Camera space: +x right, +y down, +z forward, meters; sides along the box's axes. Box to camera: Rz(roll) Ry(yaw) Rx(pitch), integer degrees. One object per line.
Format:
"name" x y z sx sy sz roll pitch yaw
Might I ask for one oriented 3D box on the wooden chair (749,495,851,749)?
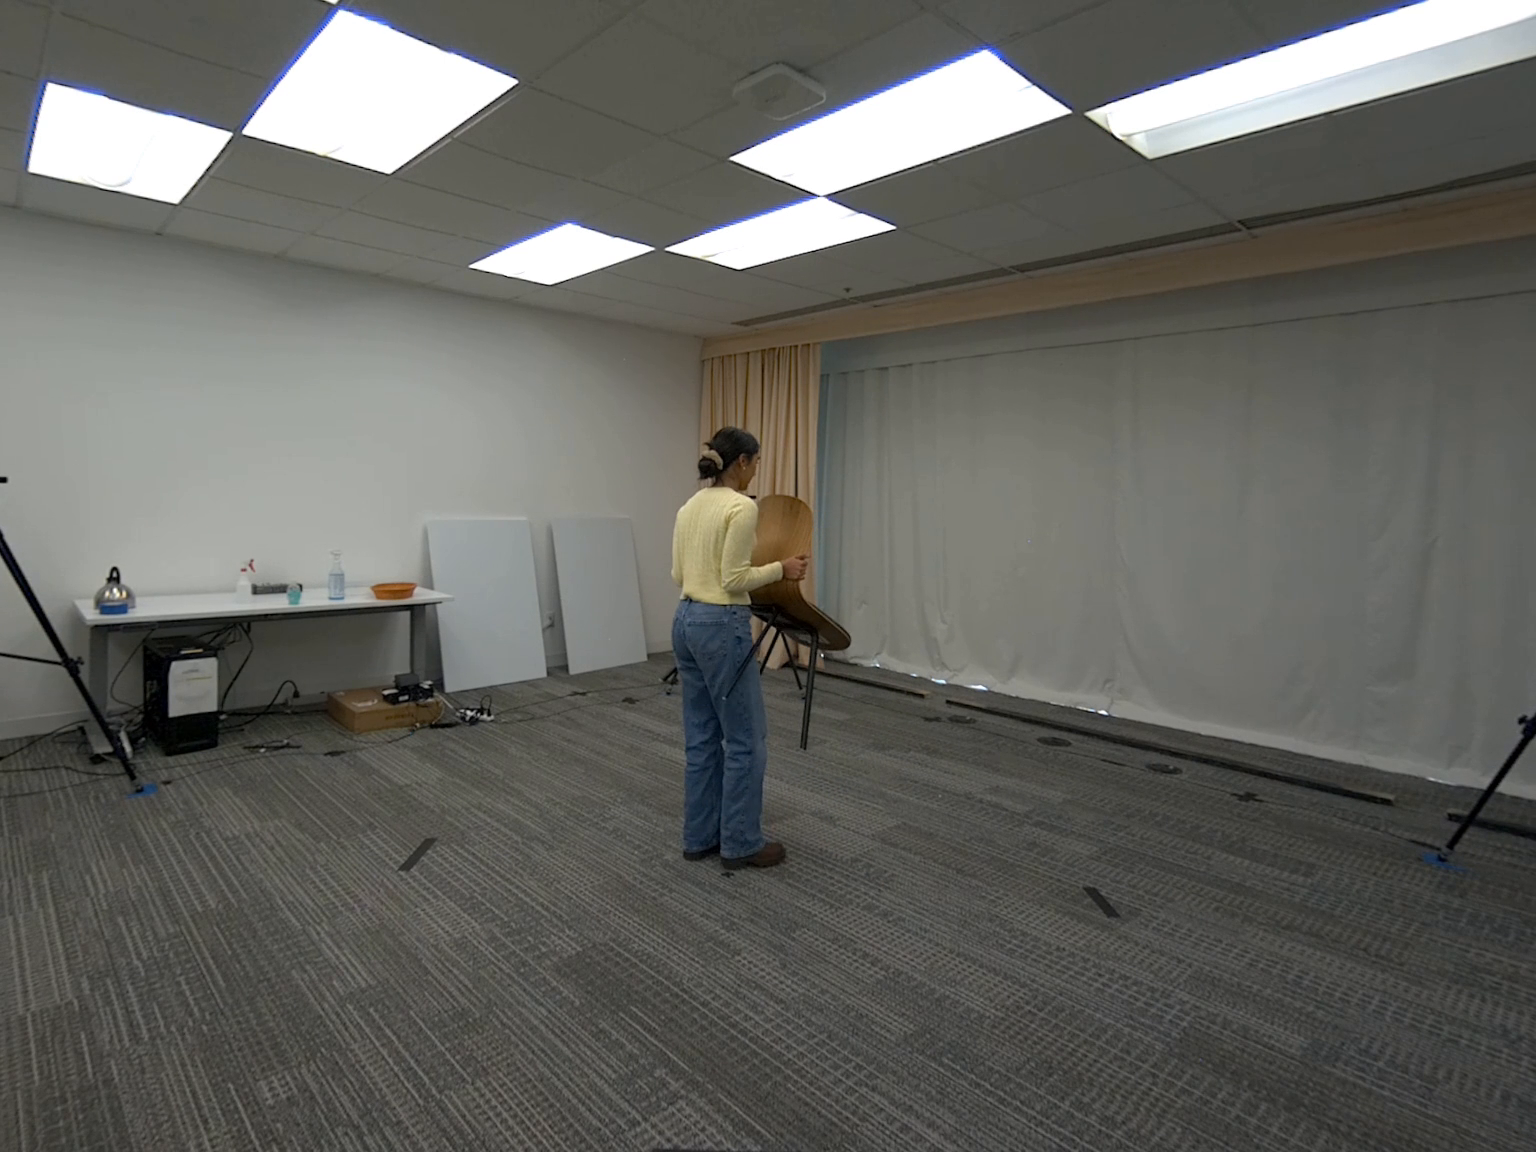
"wooden chair" 0.045 0.179 3.404 0.508 0.882 0.489 32 -18 -33
